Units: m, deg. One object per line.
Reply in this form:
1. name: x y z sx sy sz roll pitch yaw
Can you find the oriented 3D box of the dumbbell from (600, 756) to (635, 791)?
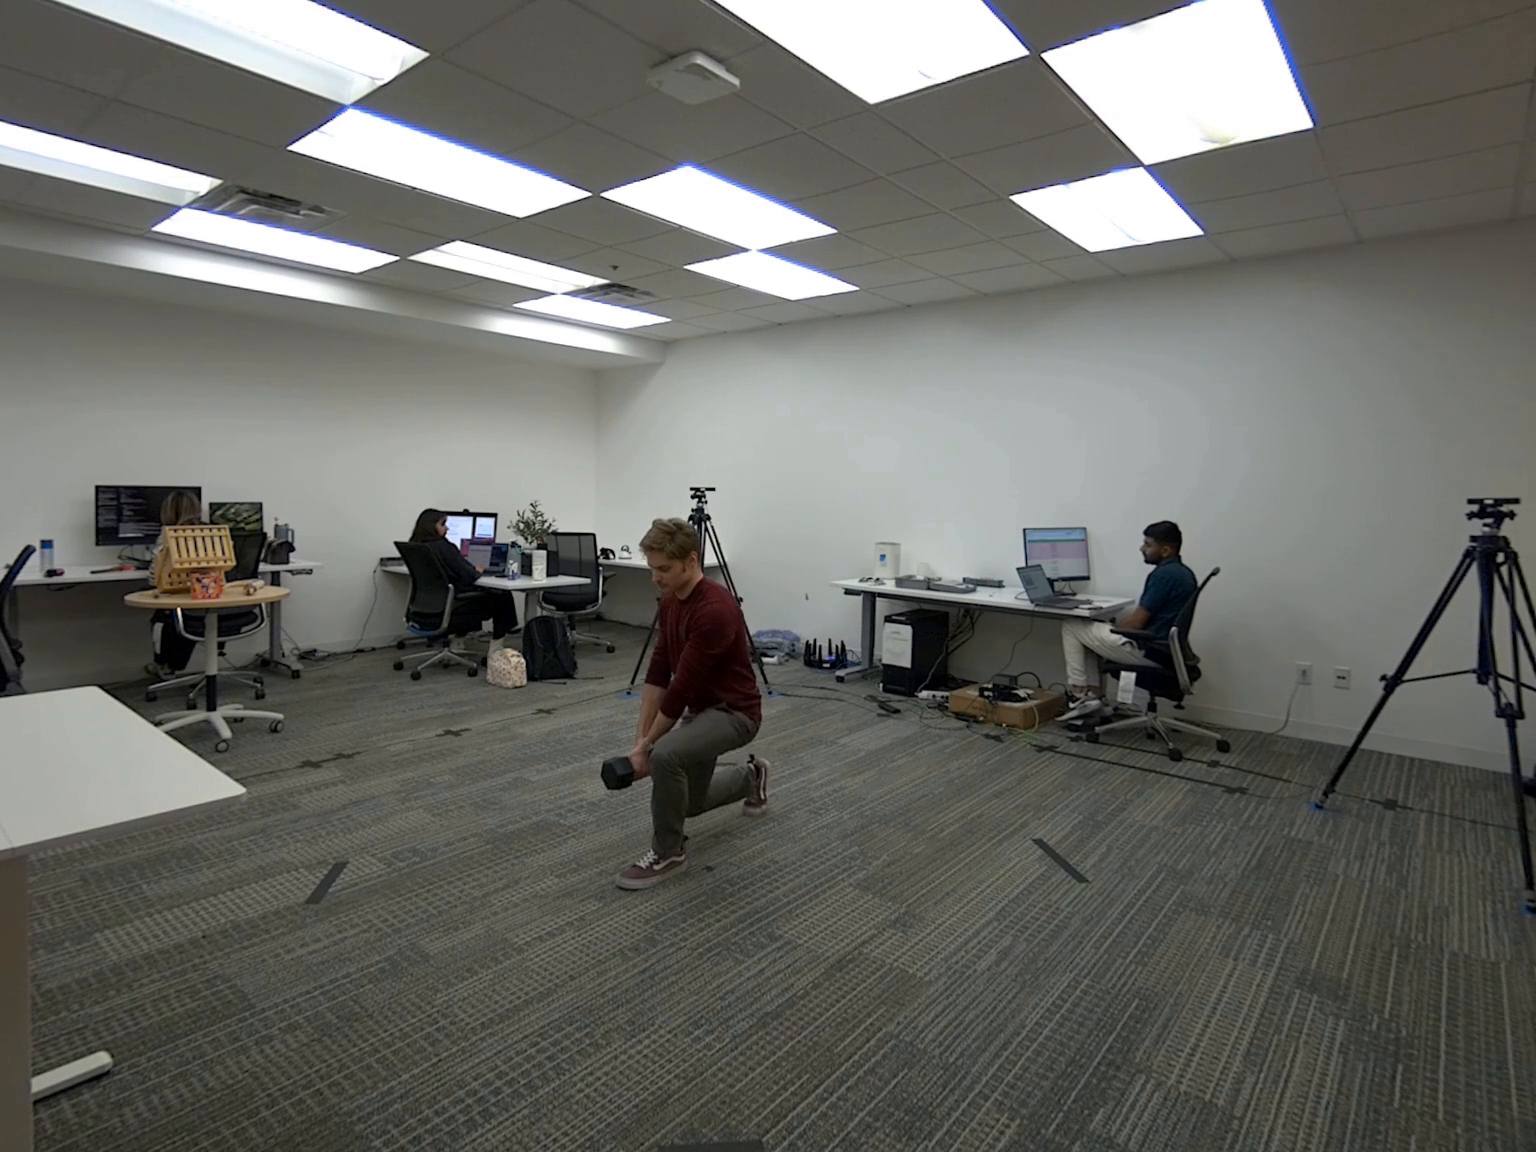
1. dumbbell: -0.484 0.694 3.140 0.285 0.127 0.108 -4 -37 -46
